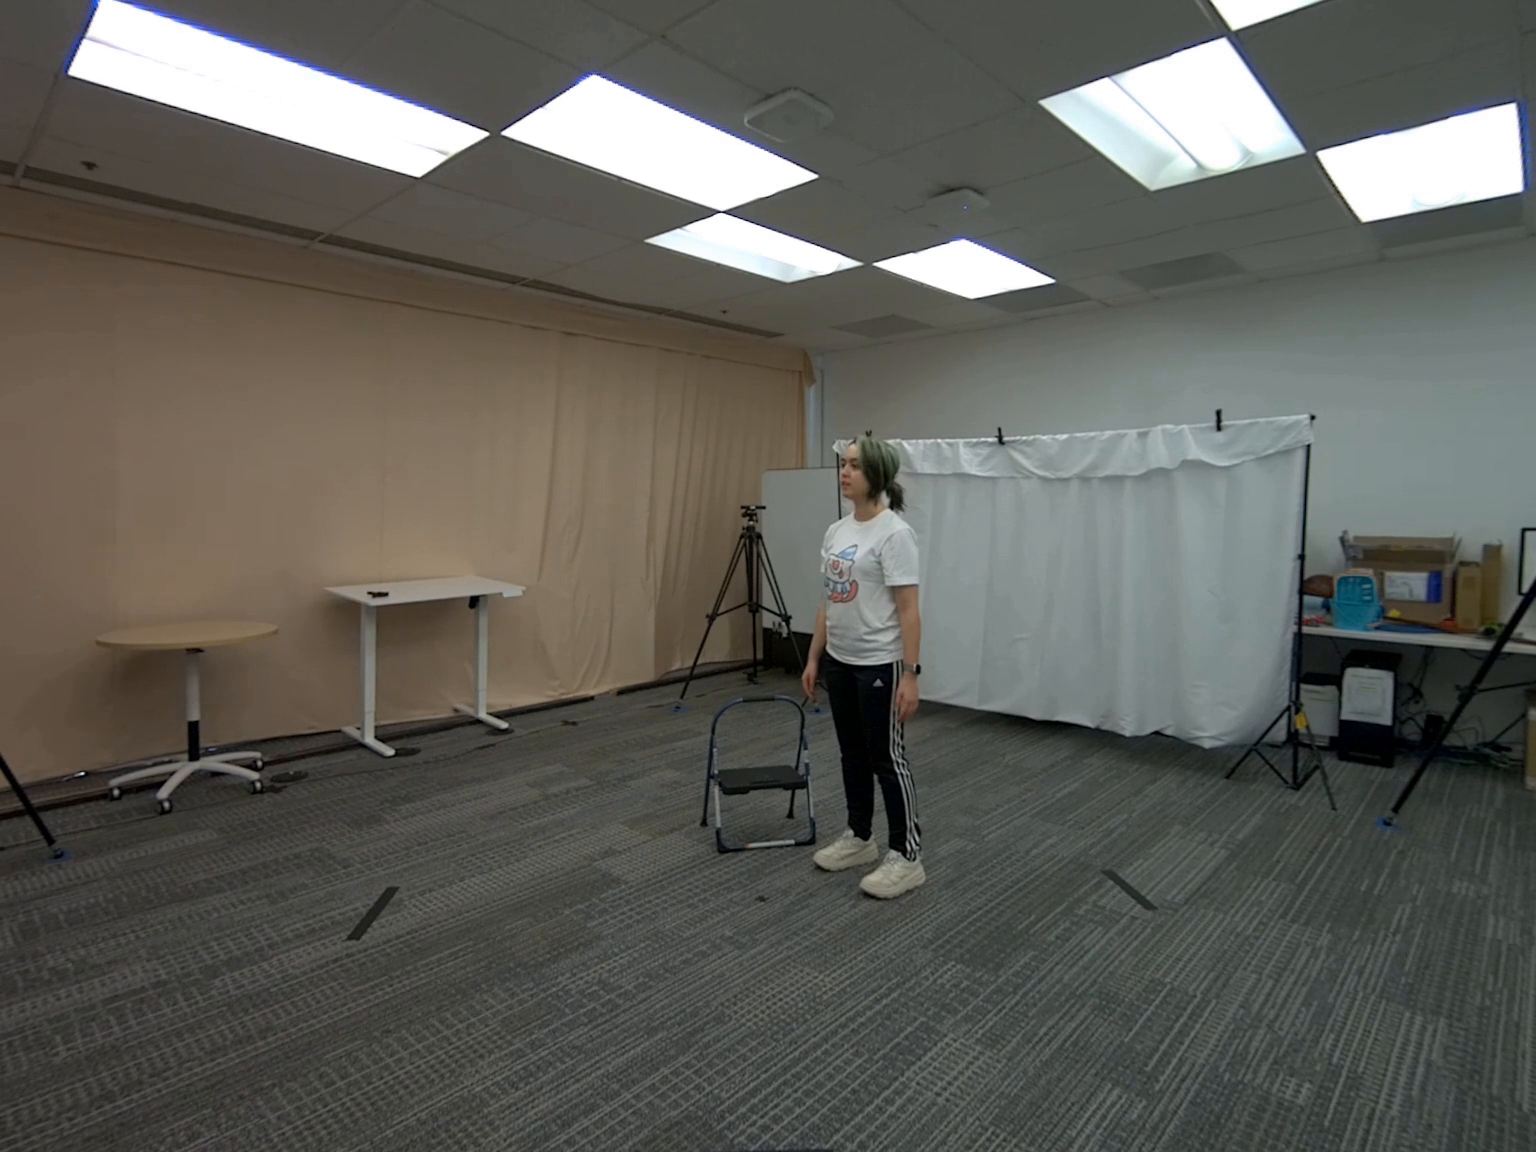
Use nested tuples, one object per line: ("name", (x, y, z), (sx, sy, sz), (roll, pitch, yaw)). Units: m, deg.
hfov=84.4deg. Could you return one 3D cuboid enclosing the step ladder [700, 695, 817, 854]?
("step ladder", (-0.048, 0.796, 3.564), (0.424, 0.605, 0.355), (-1, 3, -14))
